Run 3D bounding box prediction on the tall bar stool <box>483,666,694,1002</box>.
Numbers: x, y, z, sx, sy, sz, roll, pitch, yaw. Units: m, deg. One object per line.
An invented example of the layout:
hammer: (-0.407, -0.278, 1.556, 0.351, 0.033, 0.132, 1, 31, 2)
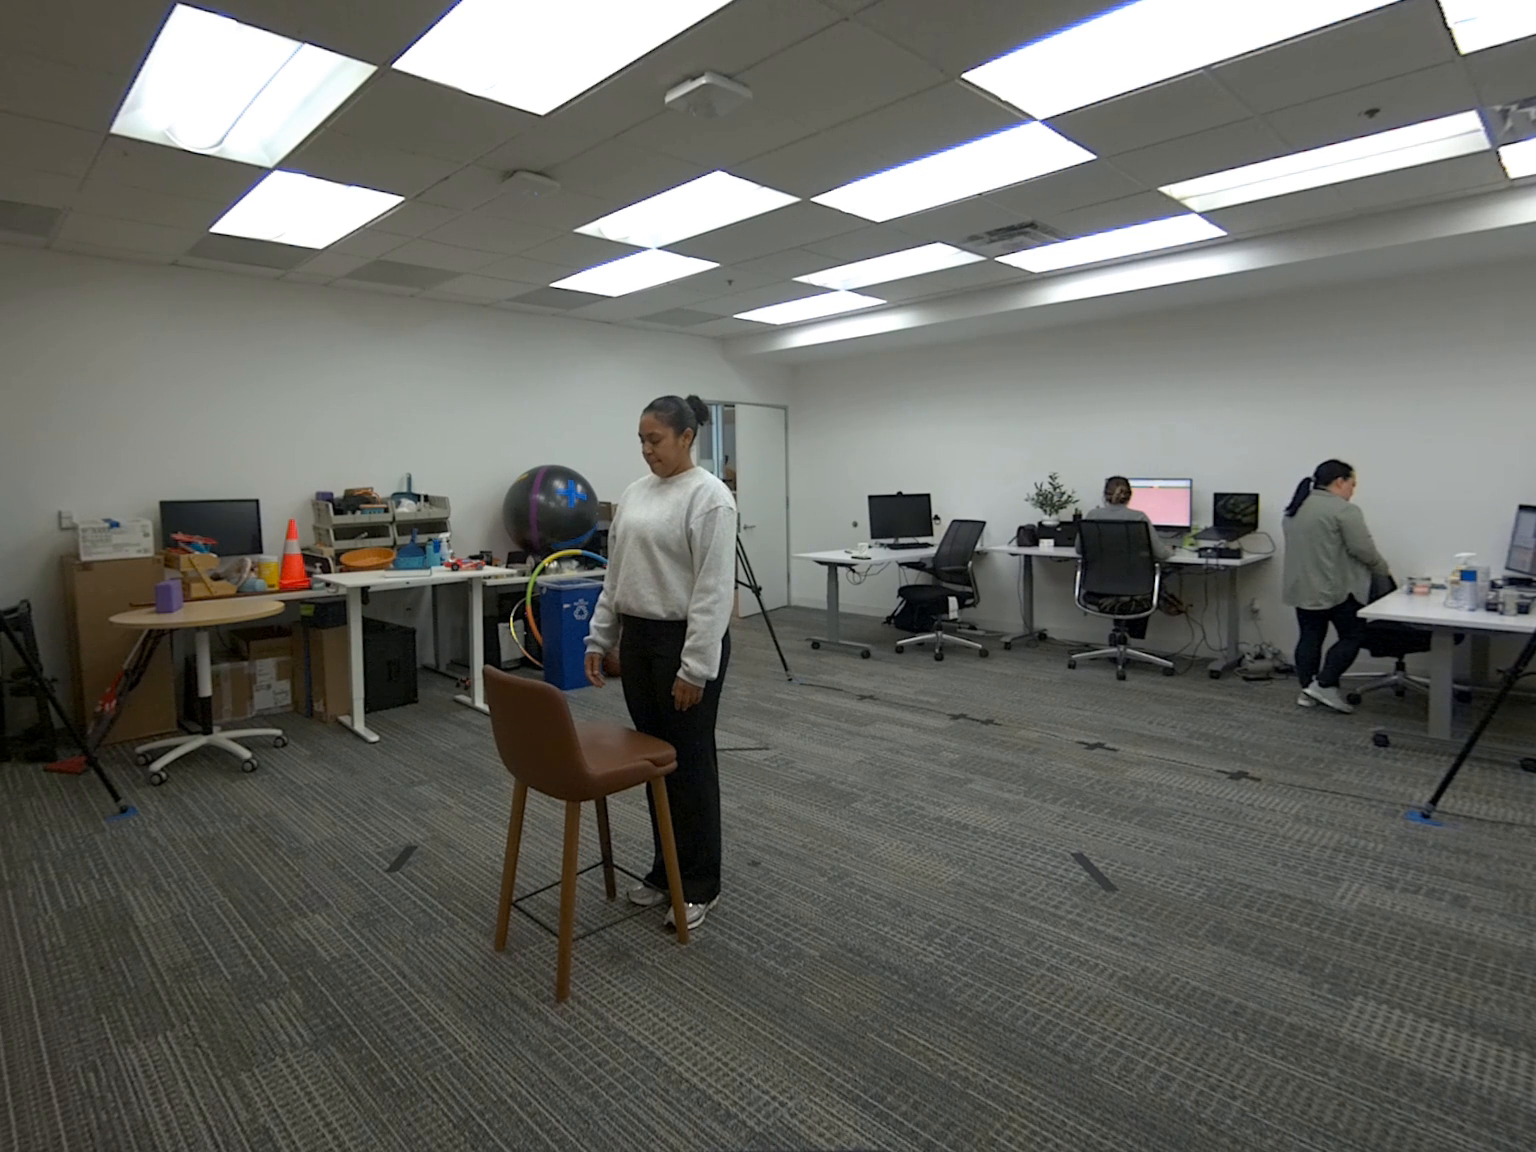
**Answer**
tall bar stool: (-0.544, 0.677, 2.551, 0.456, 0.885, 0.470, -8, 8, -44)
